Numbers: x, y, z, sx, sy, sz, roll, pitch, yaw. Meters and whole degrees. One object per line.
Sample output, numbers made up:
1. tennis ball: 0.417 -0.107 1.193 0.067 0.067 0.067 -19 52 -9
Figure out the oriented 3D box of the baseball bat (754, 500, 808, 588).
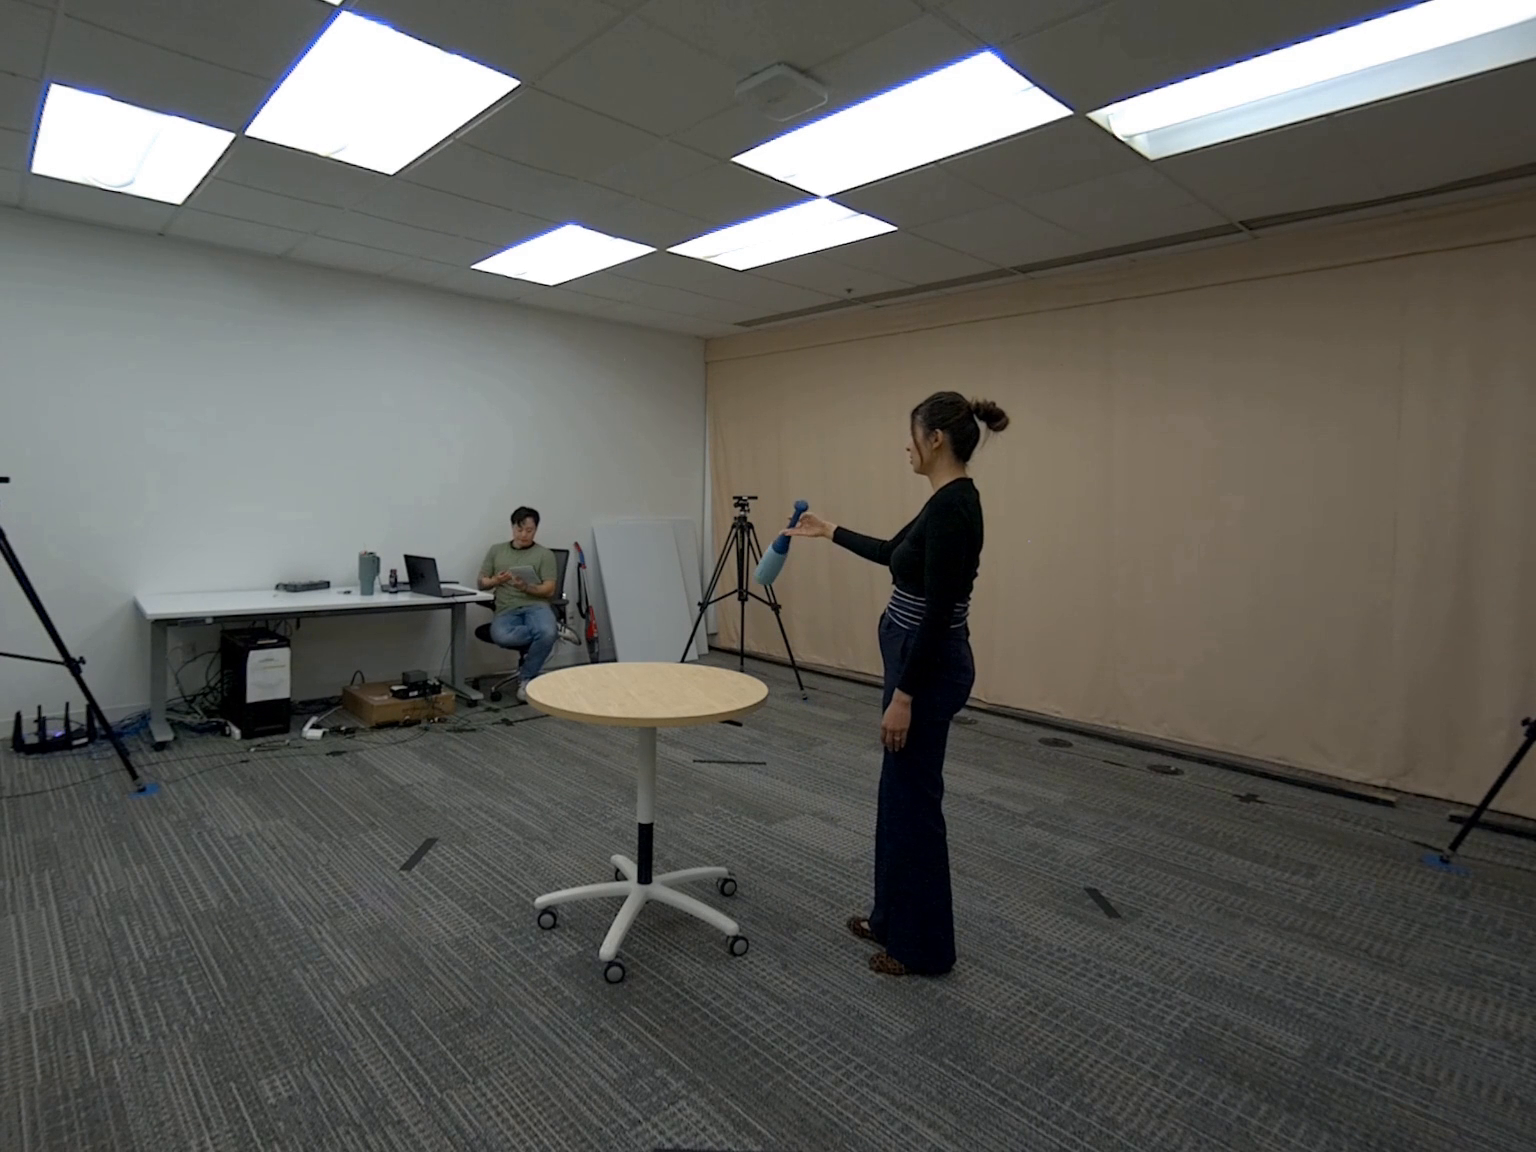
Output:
1. baseball bat: 0.048 -0.113 3.139 0.088 0.091 0.538 1 -29 -15
